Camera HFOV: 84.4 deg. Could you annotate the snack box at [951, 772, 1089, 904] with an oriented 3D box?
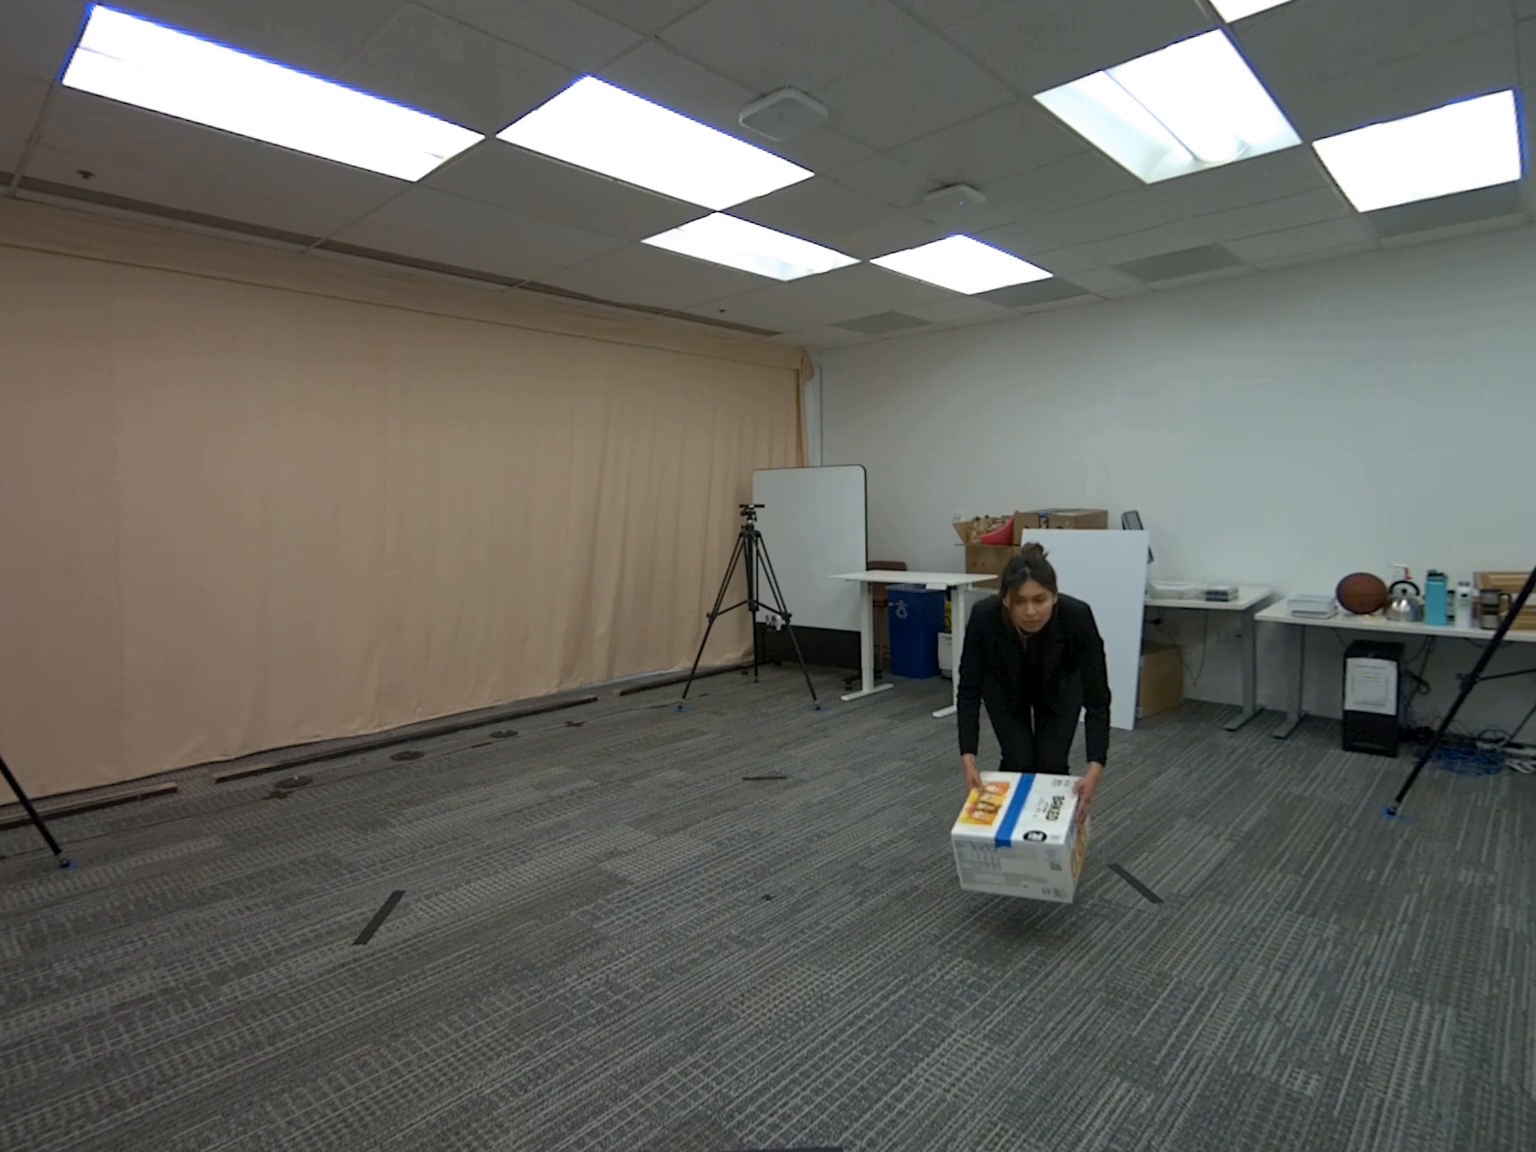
[{"bbox_3d":[0.843,0.826,2.754,0.349,0.204,0.398,-5,14,31],"label":"snack box"}]
